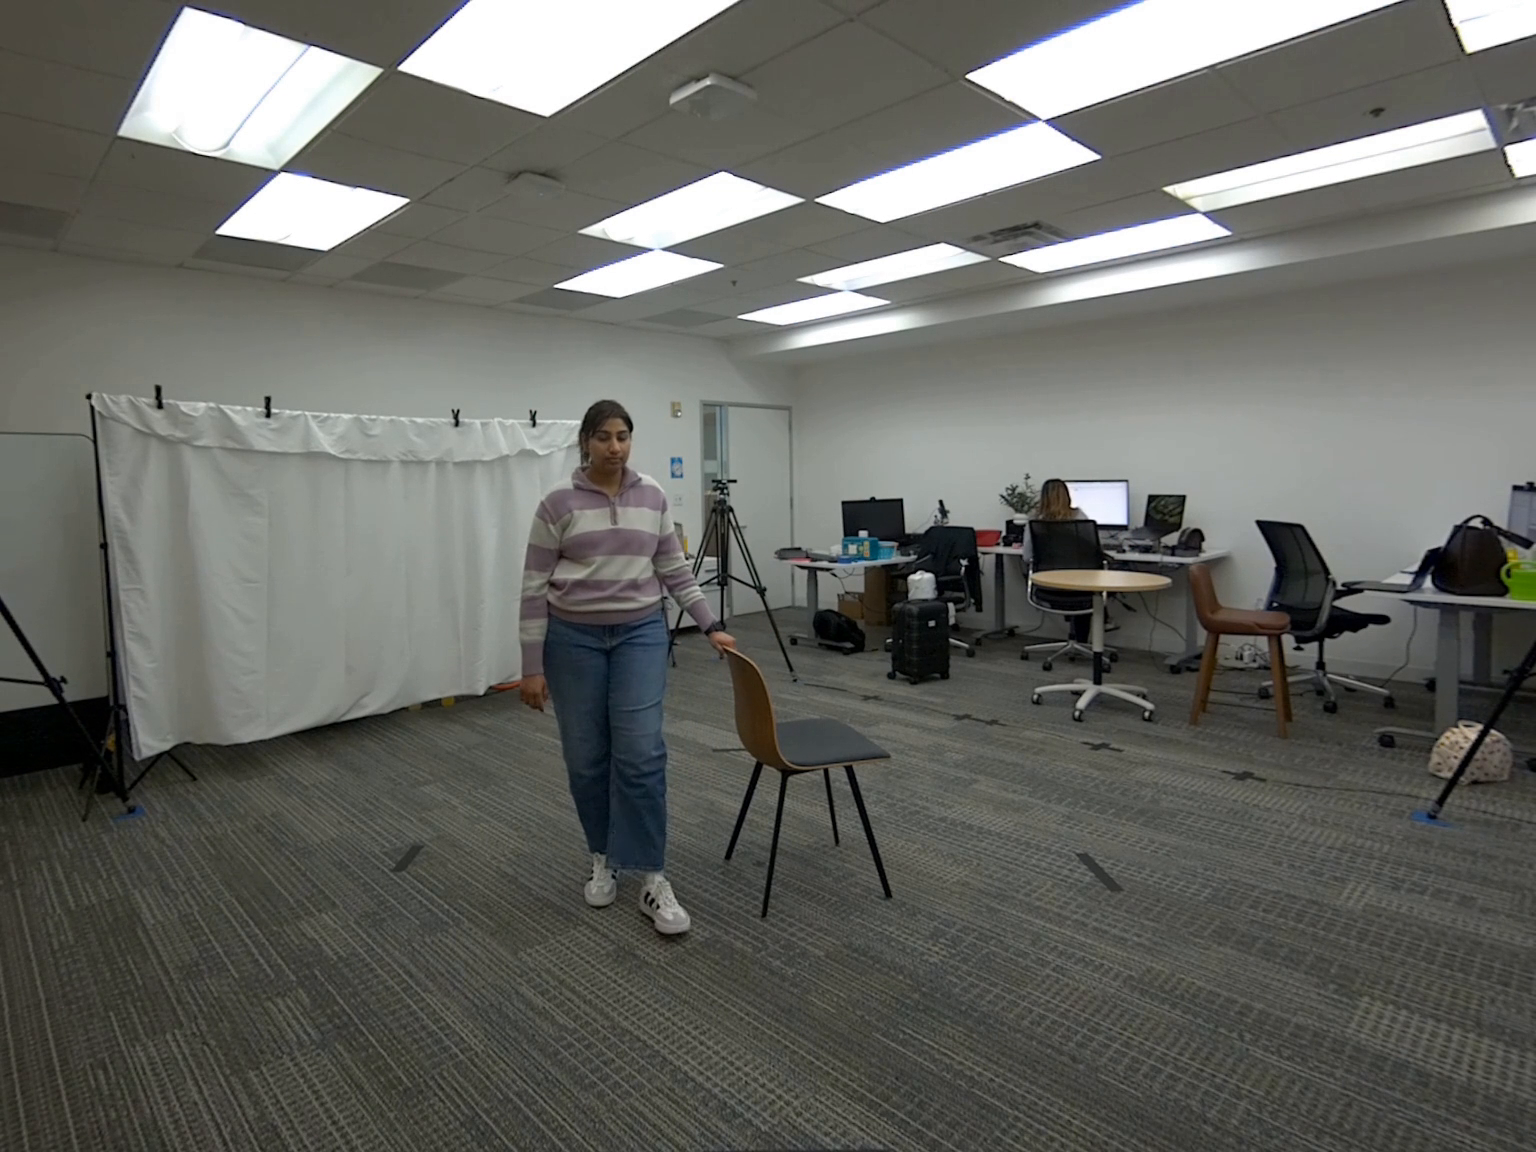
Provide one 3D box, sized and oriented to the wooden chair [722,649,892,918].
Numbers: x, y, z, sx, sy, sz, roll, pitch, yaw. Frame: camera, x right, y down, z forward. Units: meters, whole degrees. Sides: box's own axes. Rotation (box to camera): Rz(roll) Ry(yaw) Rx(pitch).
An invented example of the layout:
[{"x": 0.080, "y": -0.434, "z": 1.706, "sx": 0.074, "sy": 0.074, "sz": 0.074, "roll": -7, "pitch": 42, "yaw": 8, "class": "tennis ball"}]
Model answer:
[{"x": 0.130, "y": 0.630, "z": 2.966, "sx": 0.516, "sy": 0.873, "sz": 0.487, "roll": -7, "pitch": 5, "yaw": -16, "class": "wooden chair"}]
